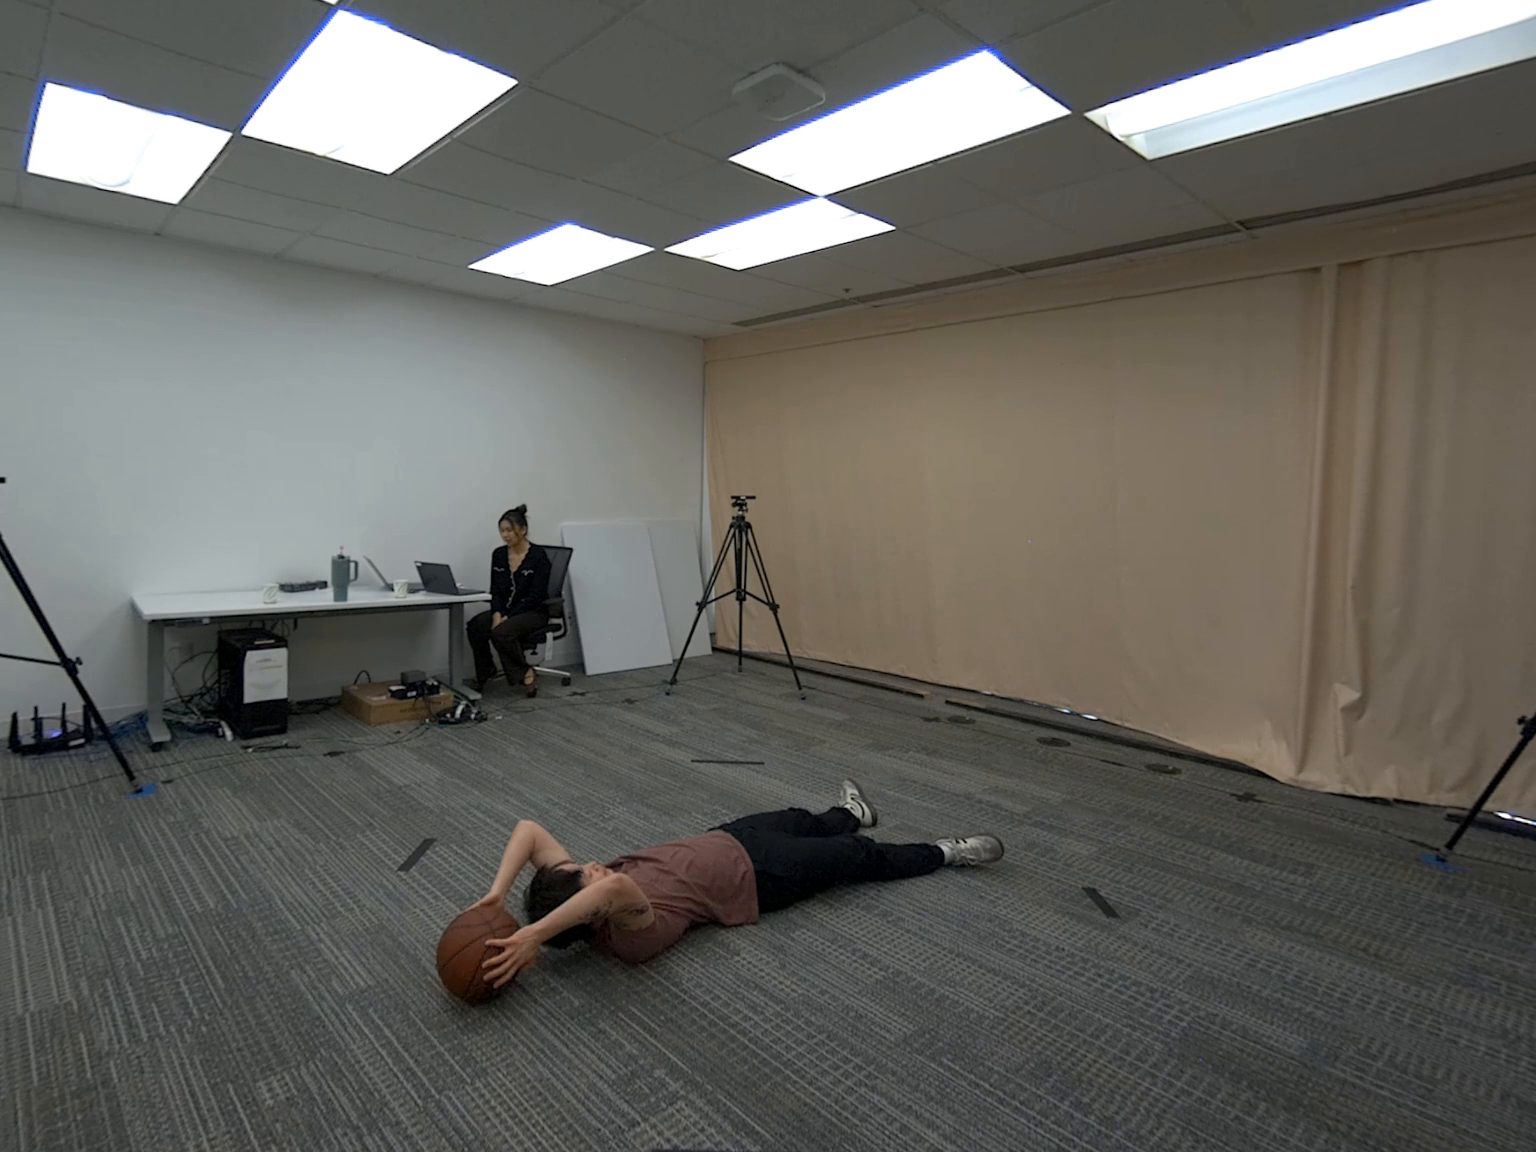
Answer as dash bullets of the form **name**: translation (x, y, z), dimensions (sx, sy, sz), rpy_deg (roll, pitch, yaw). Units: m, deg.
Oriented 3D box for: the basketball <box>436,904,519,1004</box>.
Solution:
- **basketball**: translation (-0.795, 1.034, 2.332), dimensions (0.236, 0.235, 0.237), rpy_deg (2, 4, -2)
